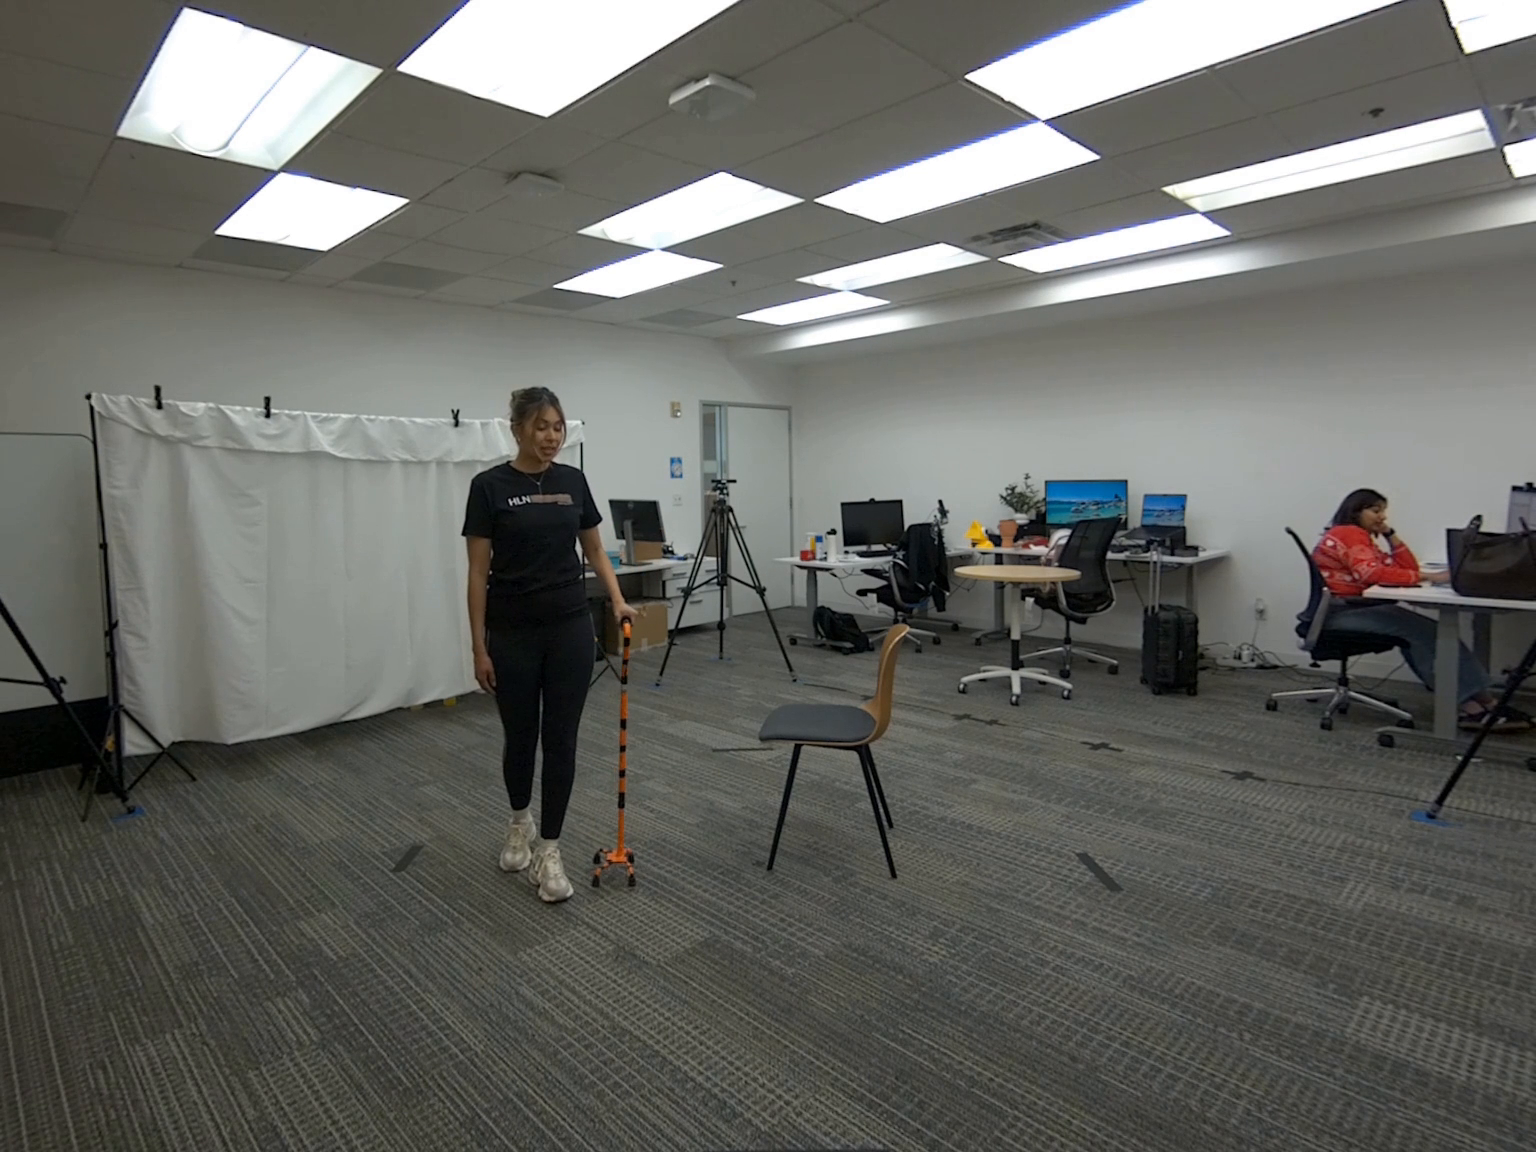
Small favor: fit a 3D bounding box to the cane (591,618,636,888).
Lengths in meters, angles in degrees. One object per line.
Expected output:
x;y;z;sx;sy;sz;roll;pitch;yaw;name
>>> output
-0.513;0.596;2.969;0.150;0.905;0.209;2;3;-10;cane
